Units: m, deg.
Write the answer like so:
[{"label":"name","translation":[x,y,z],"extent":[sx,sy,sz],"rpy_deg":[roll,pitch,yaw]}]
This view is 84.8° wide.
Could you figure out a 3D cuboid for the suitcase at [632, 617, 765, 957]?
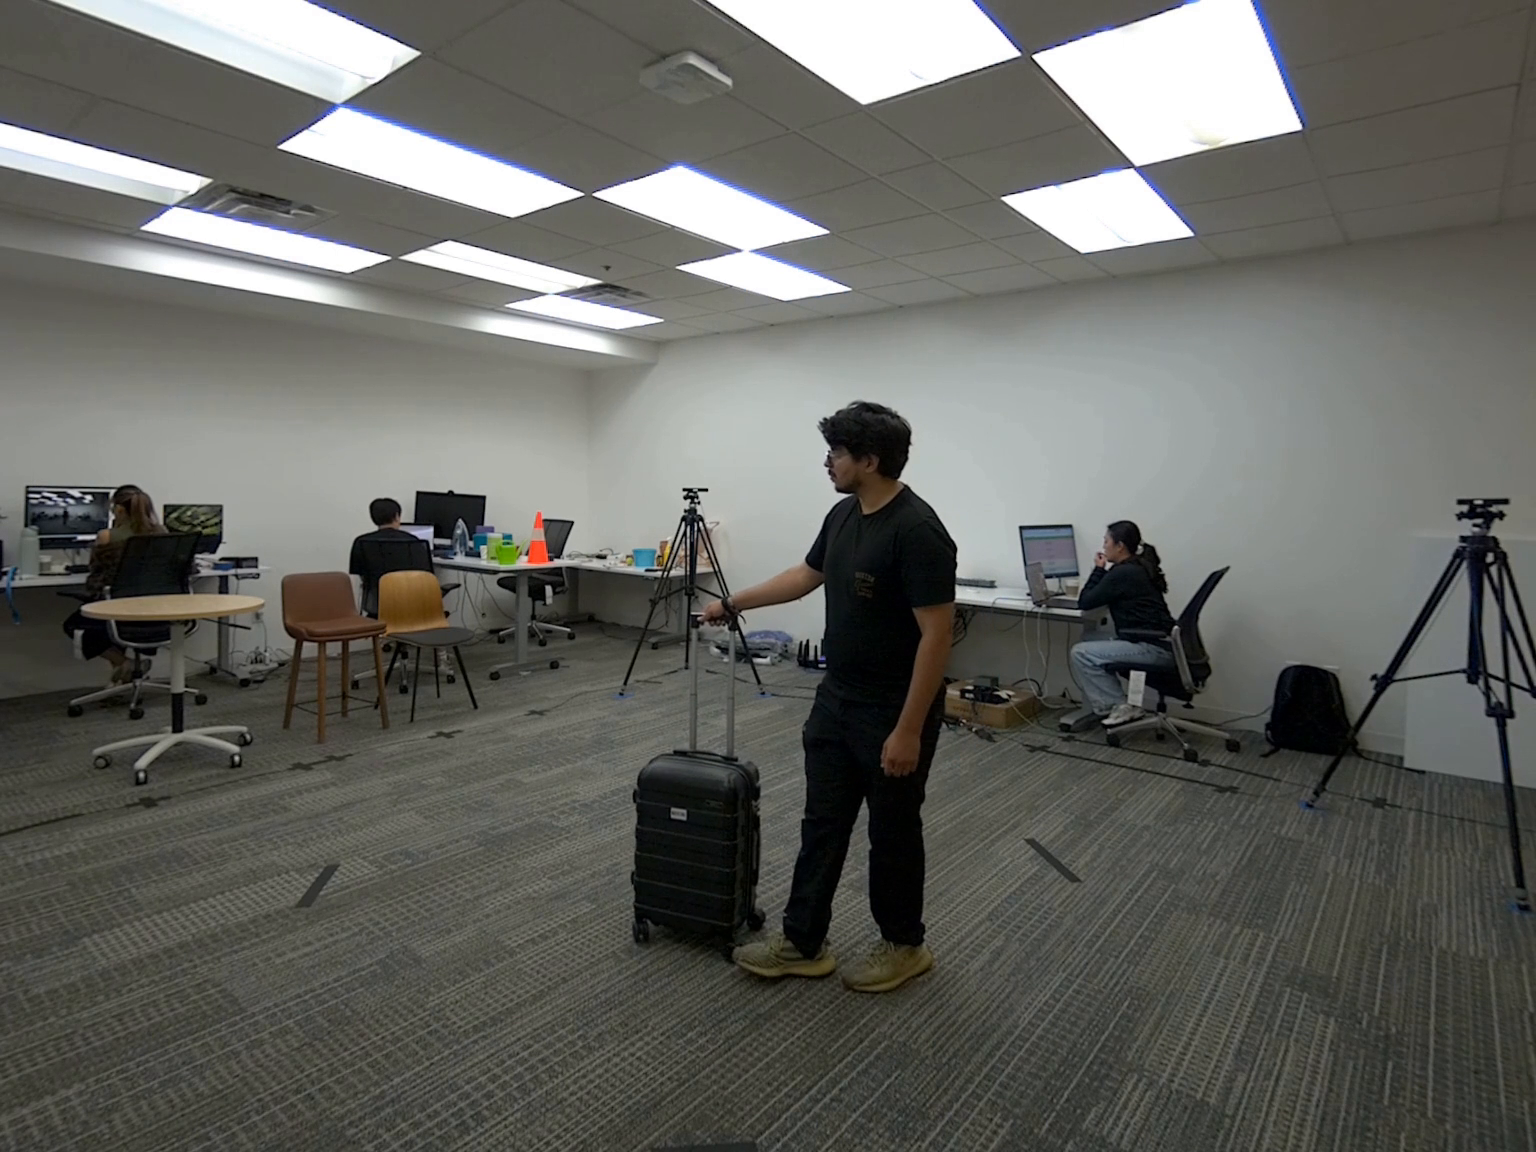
[{"label":"suitcase","translation":[-0.221,0.632,2.649],"extent":[0.391,0.977,0.252],"rpy_deg":[2,2,18]}]
